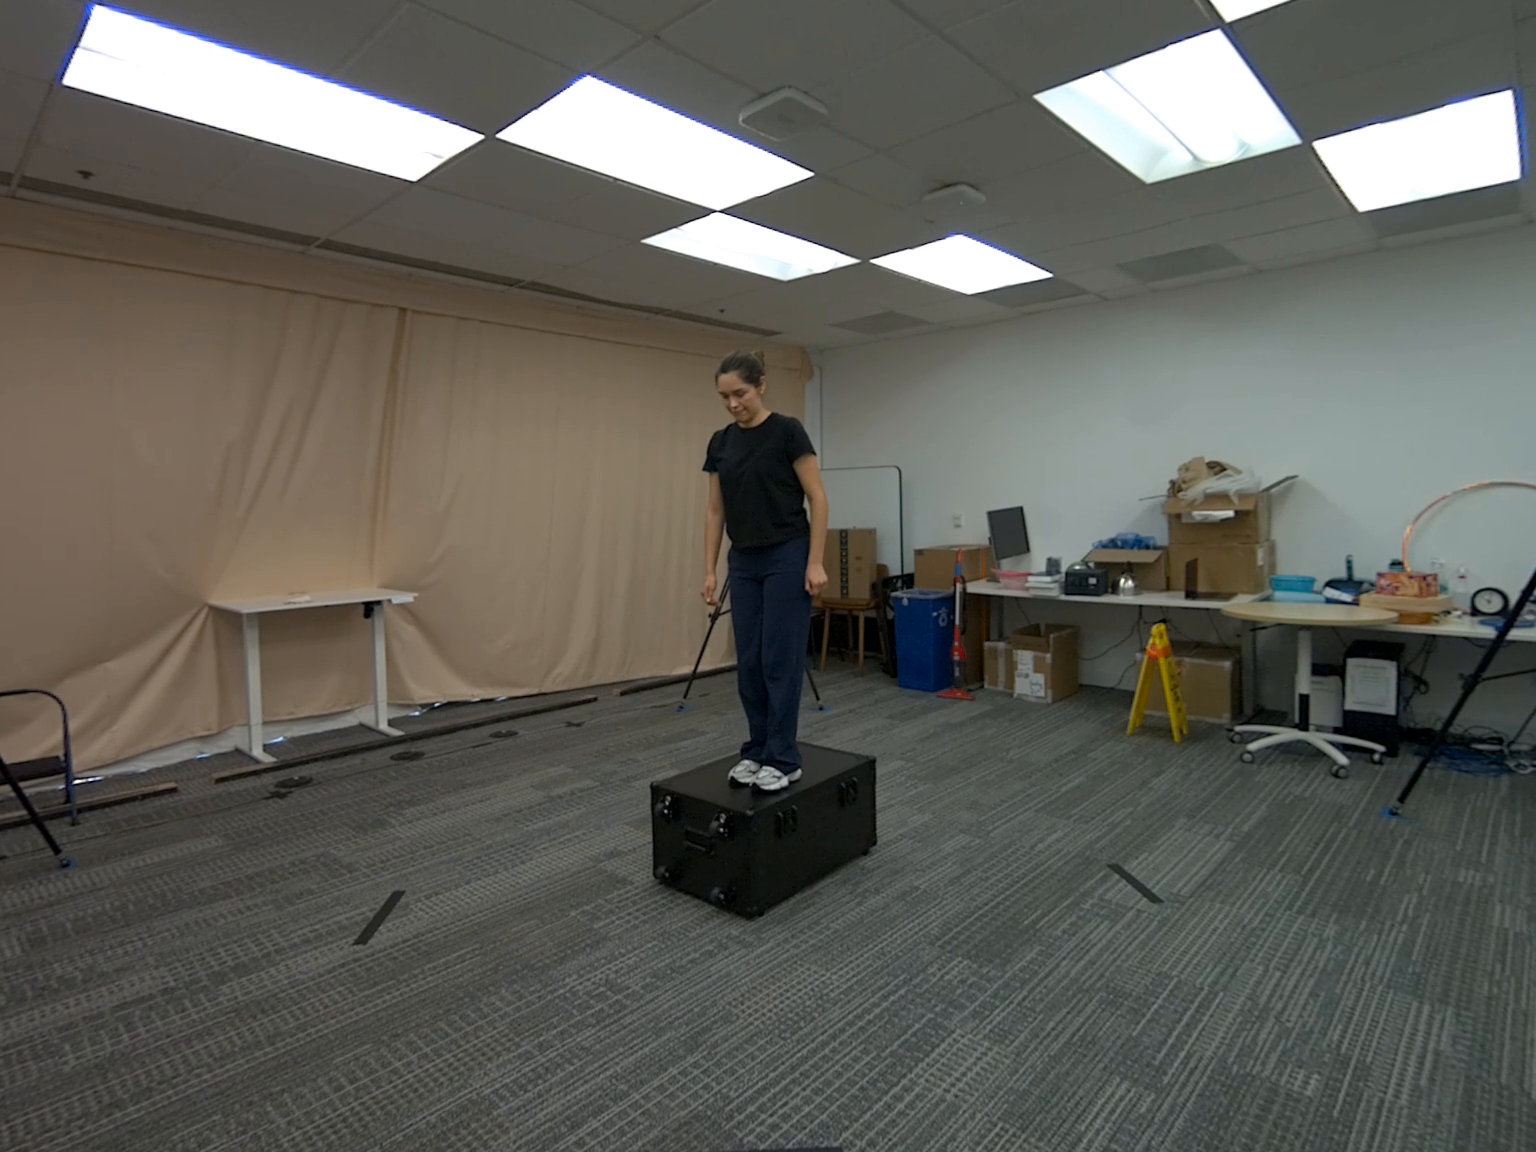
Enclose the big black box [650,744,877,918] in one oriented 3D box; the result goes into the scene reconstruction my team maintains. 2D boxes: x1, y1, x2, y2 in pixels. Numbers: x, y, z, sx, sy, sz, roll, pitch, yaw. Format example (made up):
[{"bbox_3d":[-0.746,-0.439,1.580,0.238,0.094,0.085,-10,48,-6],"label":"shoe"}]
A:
[{"bbox_3d":[-0.007,0.930,3.212,0.538,0.395,0.836,2,5,40],"label":"big black box"}]
